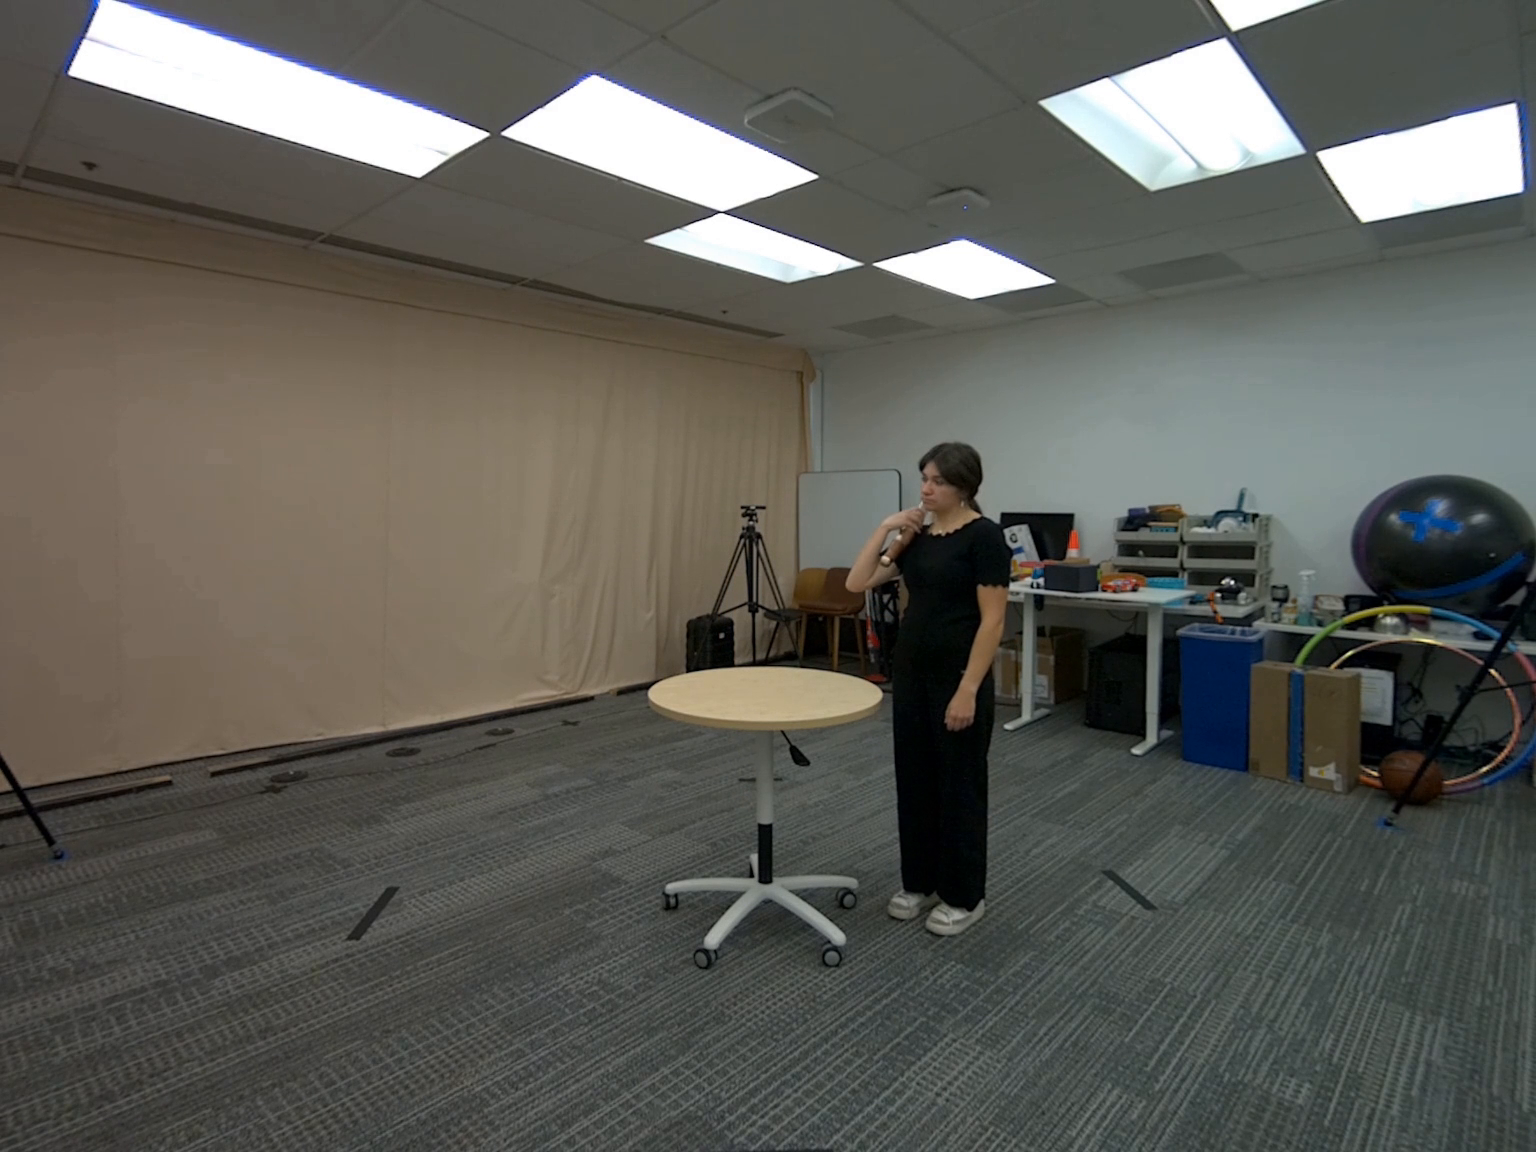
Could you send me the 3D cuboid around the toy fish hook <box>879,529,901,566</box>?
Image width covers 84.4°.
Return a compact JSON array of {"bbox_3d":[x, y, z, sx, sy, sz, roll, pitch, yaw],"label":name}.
[{"bbox_3d":[0.516,-0.135,2.896,0.050,0.220,0.502,16,42,27],"label":"toy fish hook"}]
